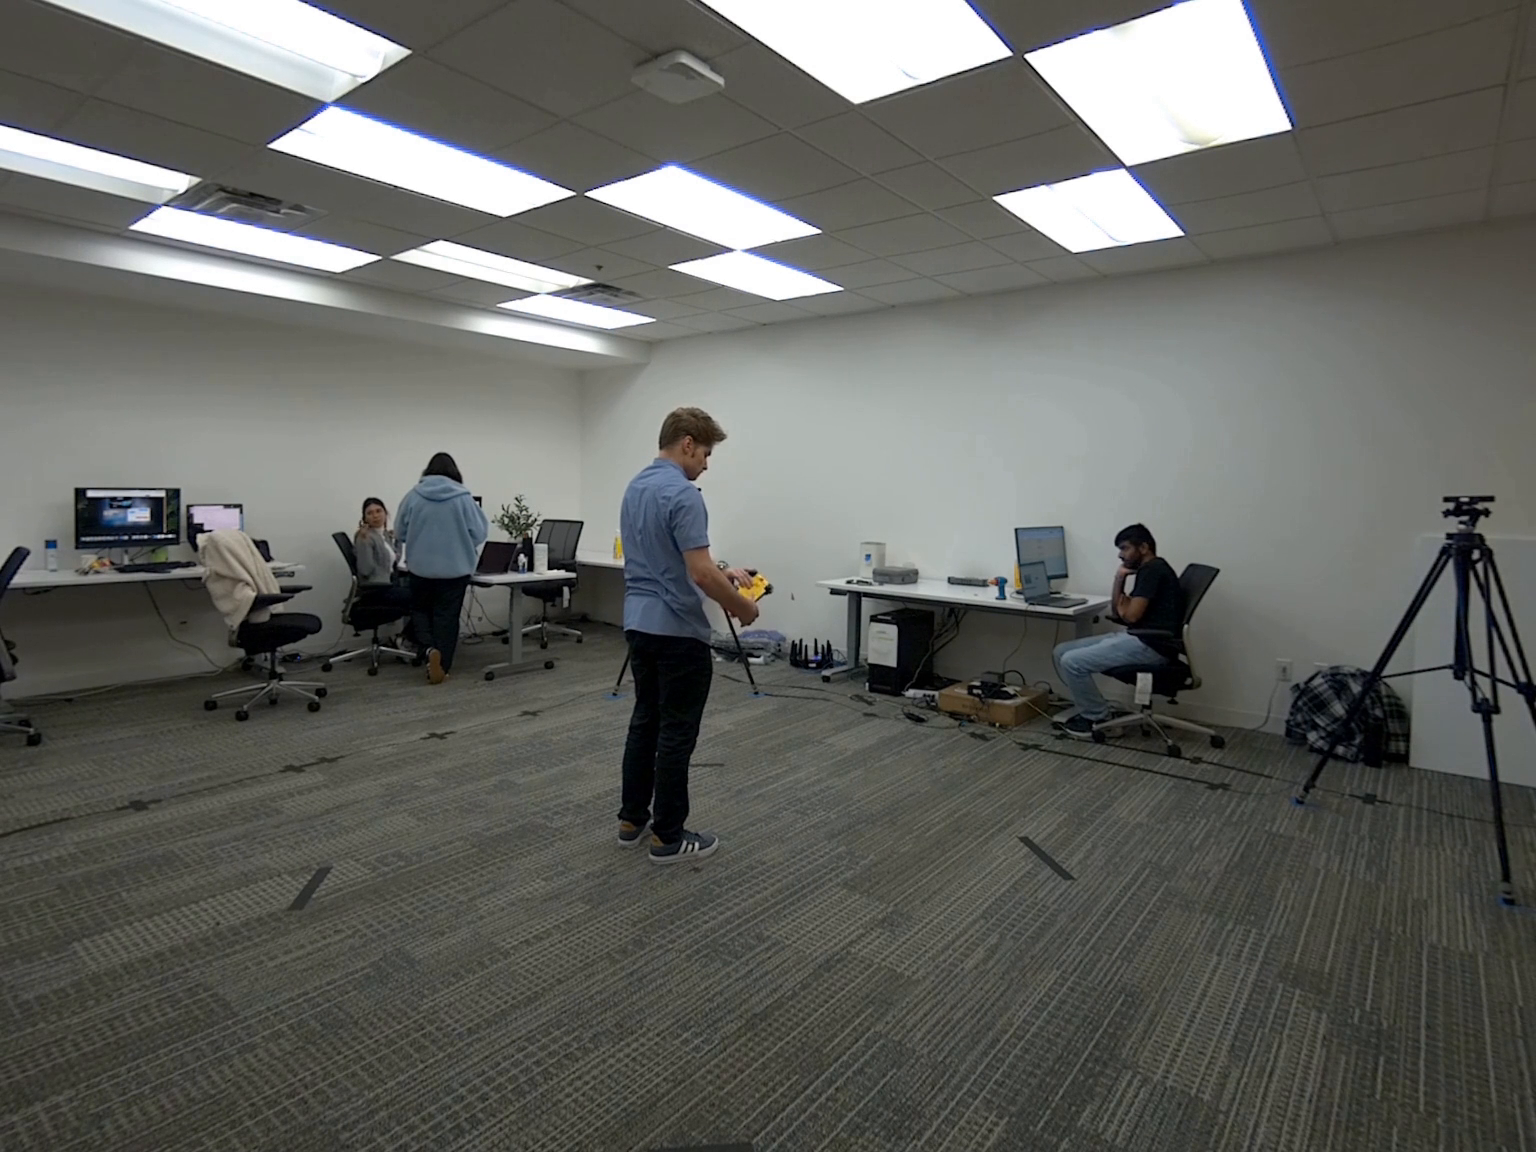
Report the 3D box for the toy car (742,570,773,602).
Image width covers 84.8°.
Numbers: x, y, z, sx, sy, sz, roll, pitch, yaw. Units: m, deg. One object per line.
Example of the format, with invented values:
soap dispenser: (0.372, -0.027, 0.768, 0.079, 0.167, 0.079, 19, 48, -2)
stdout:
toy car: (-0.093, 0.075, 3.323, 0.254, 0.132, 0.082, -45, -9, -33)
